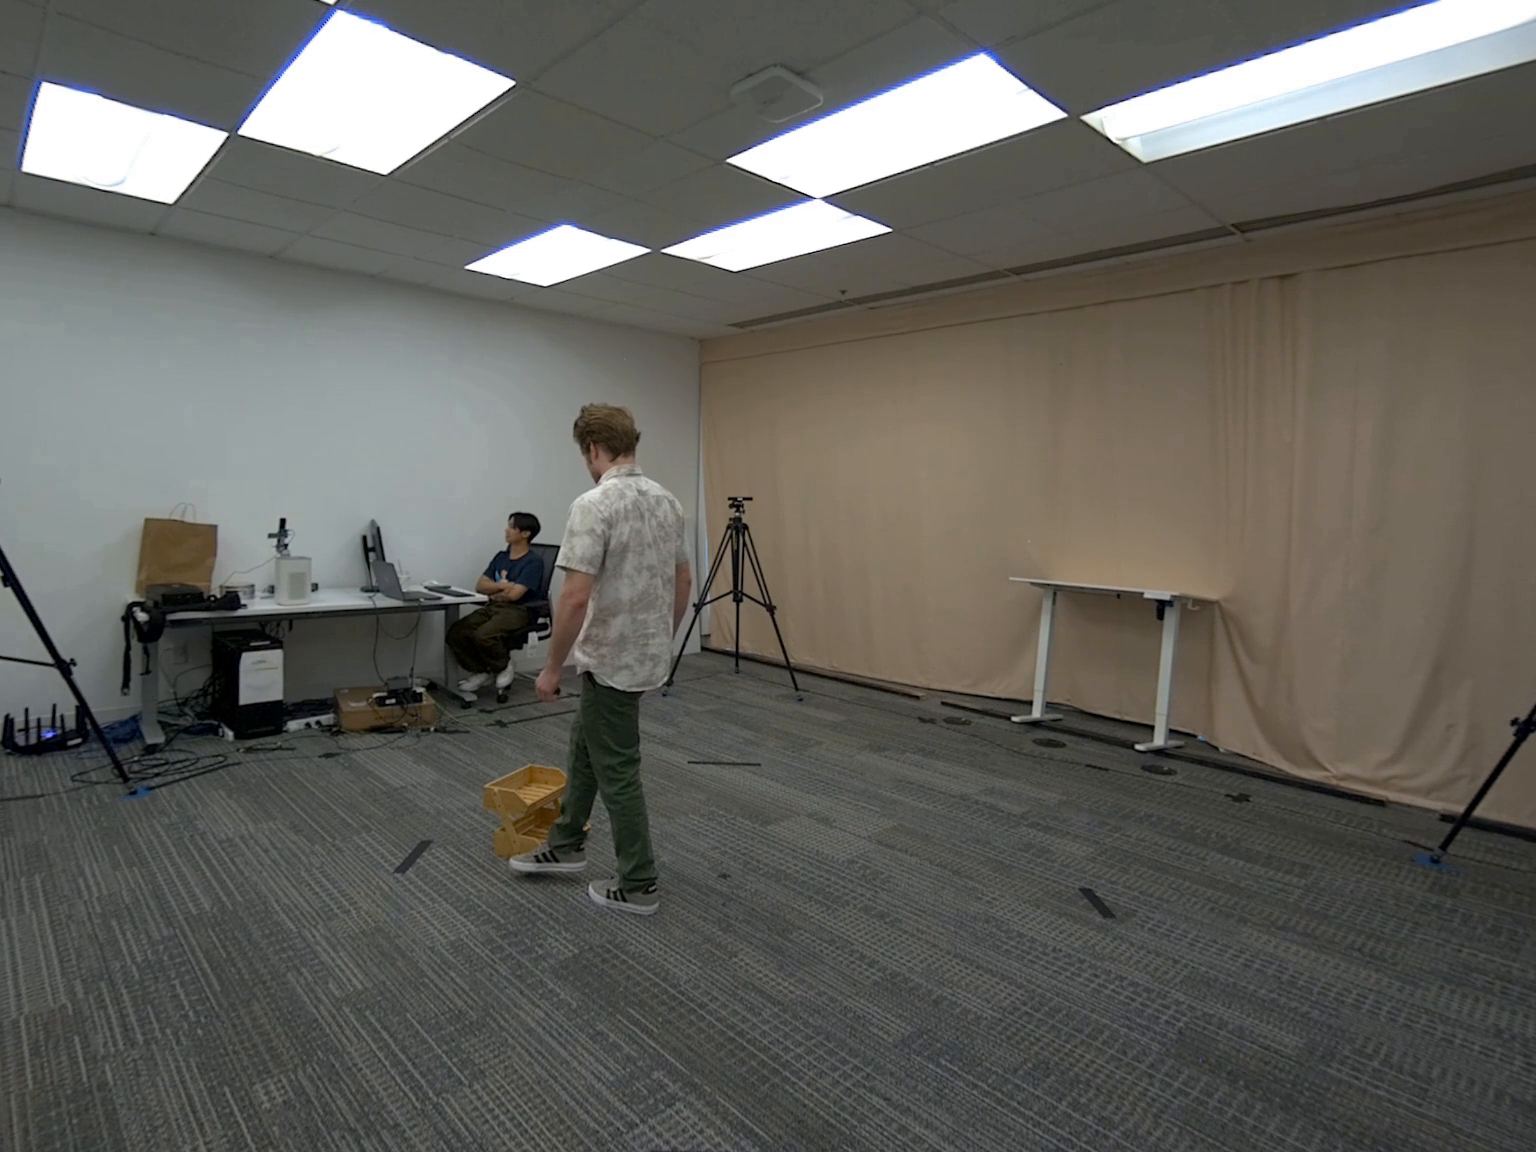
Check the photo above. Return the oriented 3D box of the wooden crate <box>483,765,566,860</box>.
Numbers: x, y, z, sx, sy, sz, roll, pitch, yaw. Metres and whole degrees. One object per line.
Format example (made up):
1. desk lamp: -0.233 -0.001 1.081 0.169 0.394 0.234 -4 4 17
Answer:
1. wooden crate: -0.916 0.934 3.342 0.307 0.272 0.320 2 4 21
